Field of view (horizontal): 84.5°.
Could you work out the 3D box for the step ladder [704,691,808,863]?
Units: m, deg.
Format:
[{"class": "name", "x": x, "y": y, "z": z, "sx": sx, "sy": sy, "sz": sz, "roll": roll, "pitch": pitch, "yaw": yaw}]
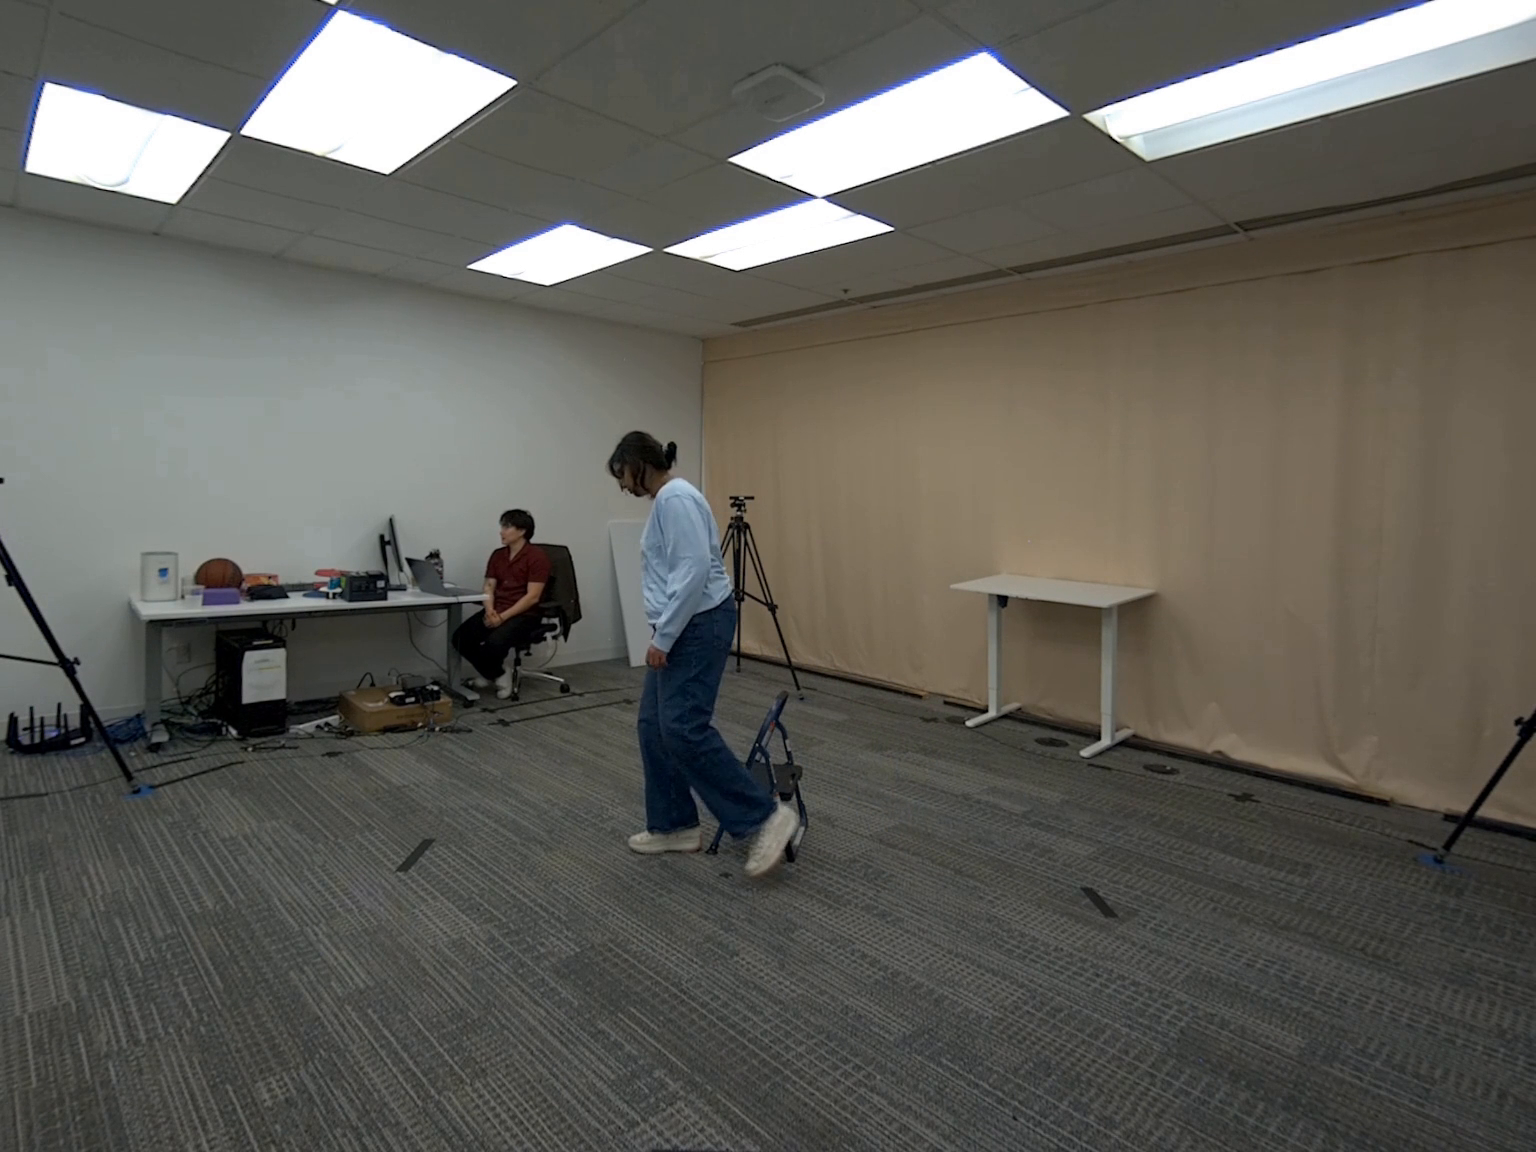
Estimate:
[{"class": "step ladder", "x": -0.031, "y": 0.776, "z": 3.445, "sx": 0.353, "sy": 0.604, "sz": 0.427, "roll": 2, "pitch": 4, "yaw": 12}]
